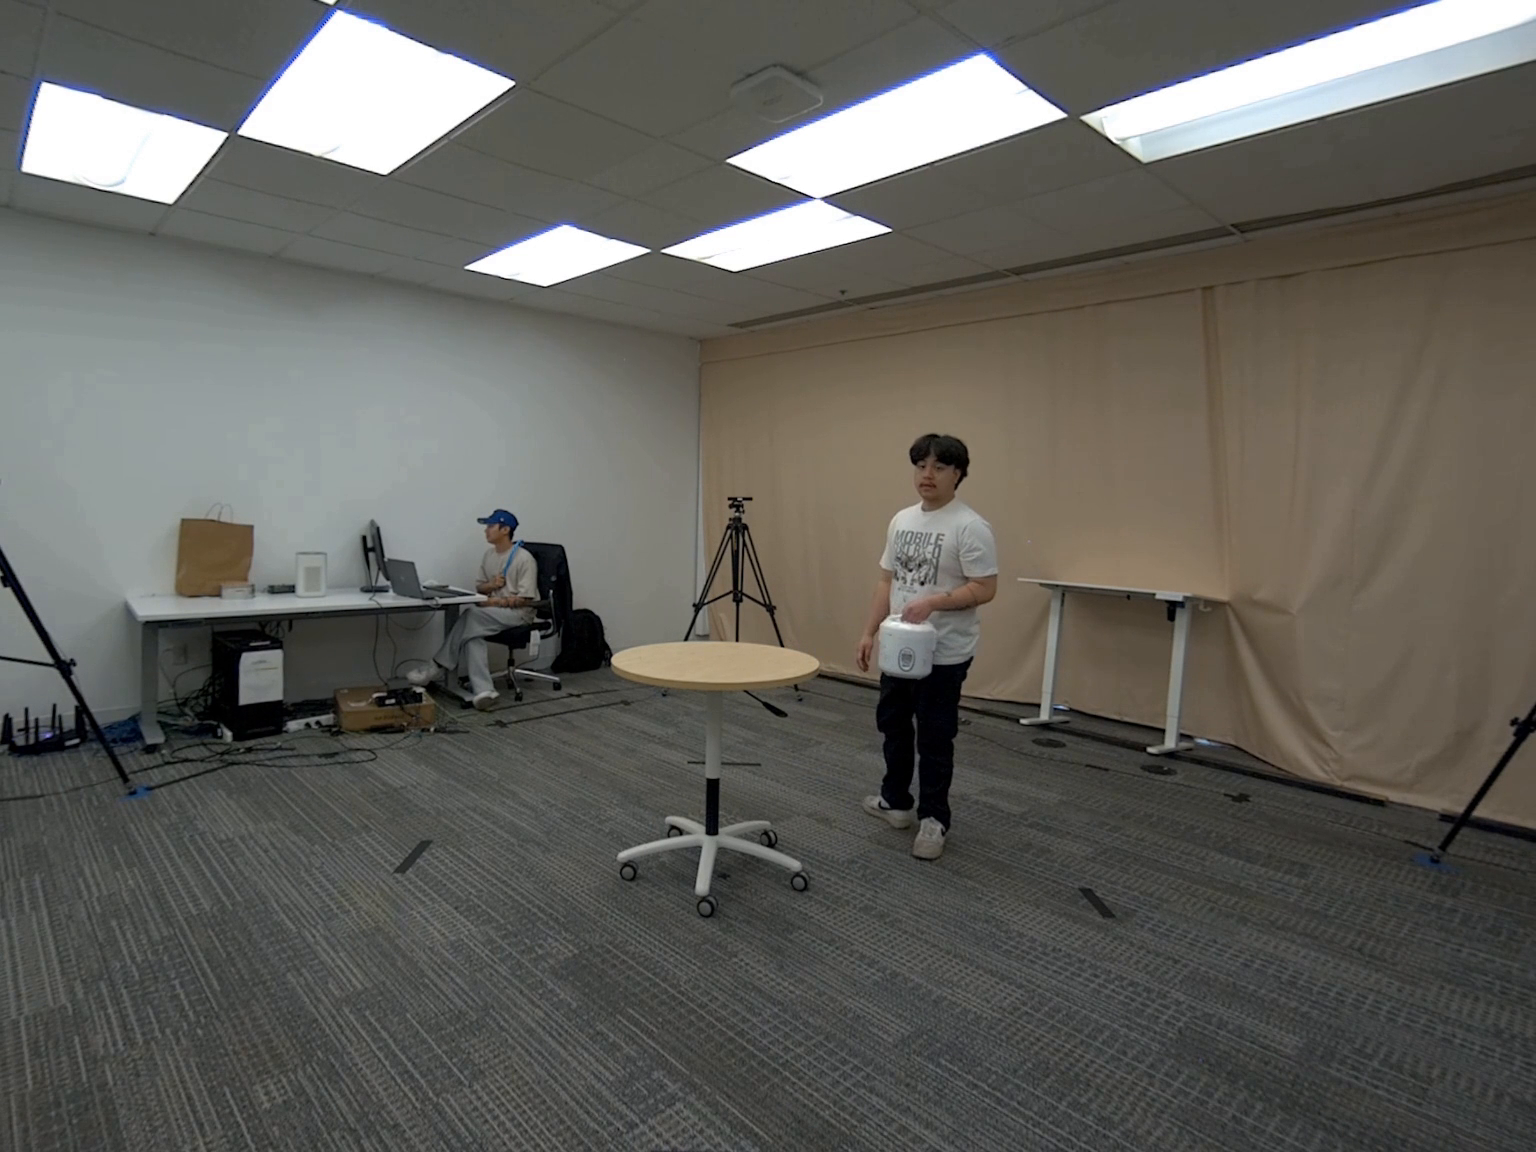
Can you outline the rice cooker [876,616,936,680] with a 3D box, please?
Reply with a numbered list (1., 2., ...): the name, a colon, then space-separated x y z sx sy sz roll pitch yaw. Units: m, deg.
1. rice cooker: 0.527 0.263 3.228 0.223 0.232 0.216 5 5 10
